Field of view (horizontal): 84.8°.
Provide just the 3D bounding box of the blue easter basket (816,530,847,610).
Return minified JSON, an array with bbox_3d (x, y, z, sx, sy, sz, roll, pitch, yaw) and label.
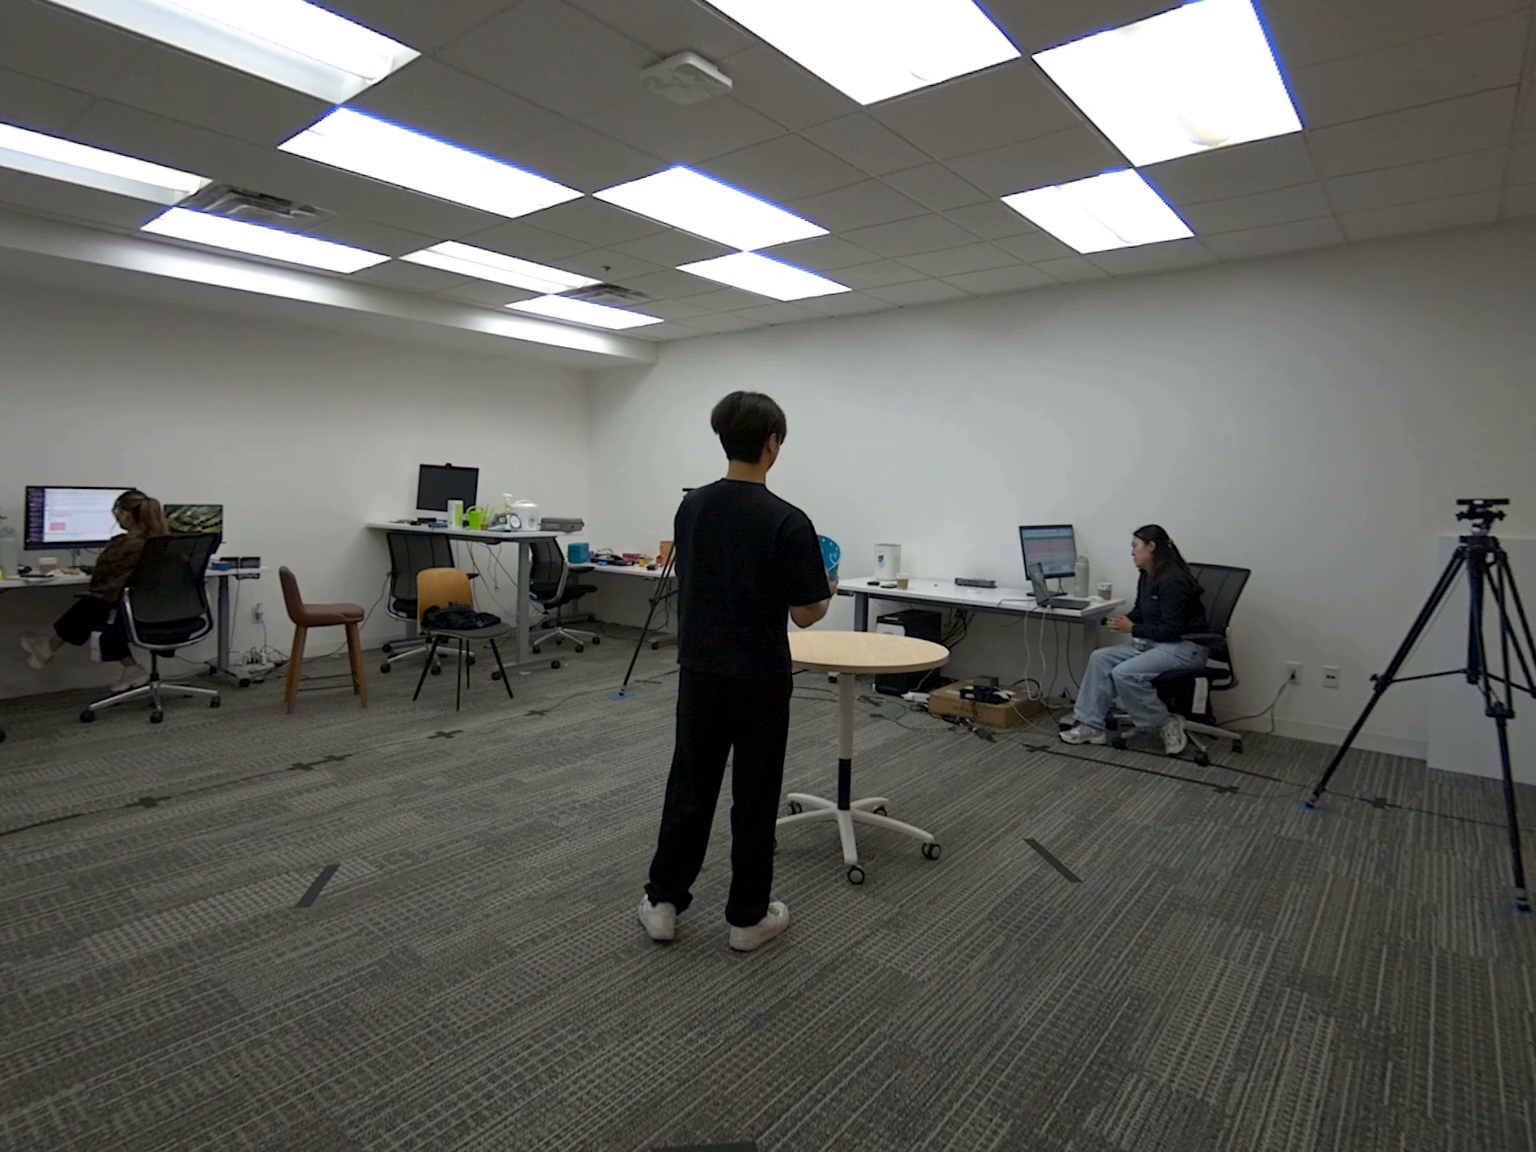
[{"bbox_3d":[0.130,-0.019,2.900,0.244,0.151,0.250,-4,37,1],"label":"blue easter basket"}]
